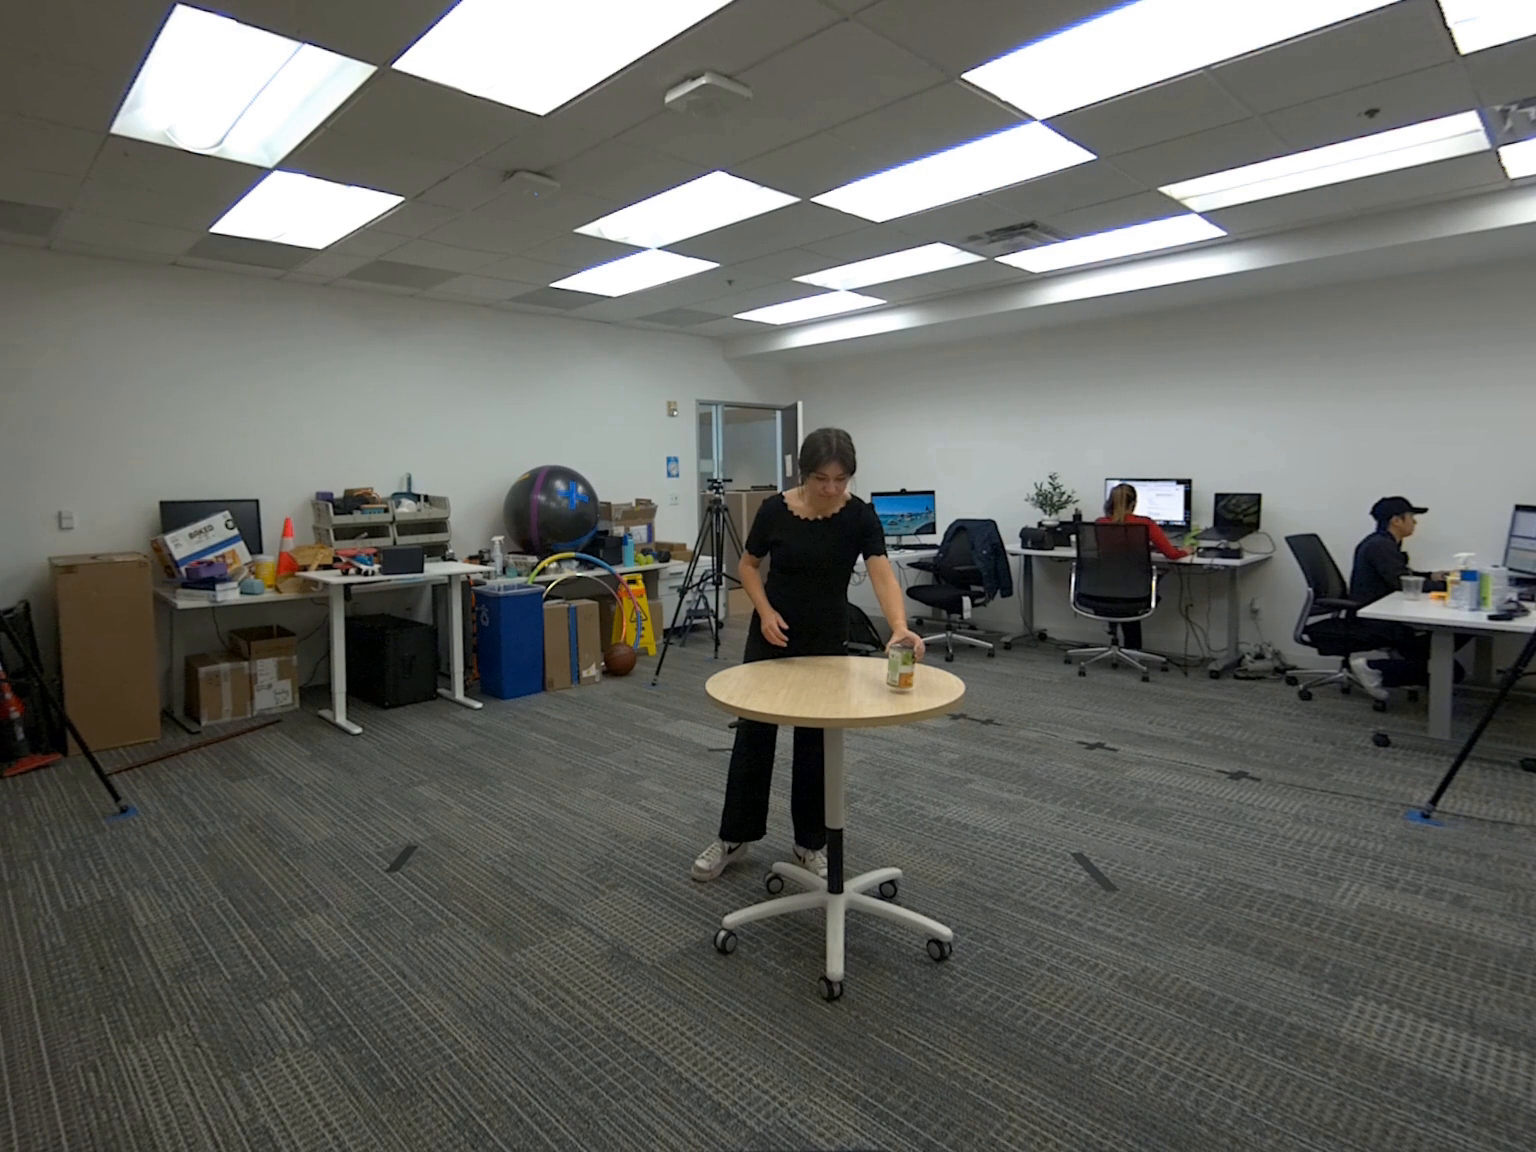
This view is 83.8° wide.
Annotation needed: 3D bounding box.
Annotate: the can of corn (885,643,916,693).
[{"bbox_3d":[0.384,0.256,2.417,0.074,0.110,0.075,2,8,-2],"label":"can of corn"}]
